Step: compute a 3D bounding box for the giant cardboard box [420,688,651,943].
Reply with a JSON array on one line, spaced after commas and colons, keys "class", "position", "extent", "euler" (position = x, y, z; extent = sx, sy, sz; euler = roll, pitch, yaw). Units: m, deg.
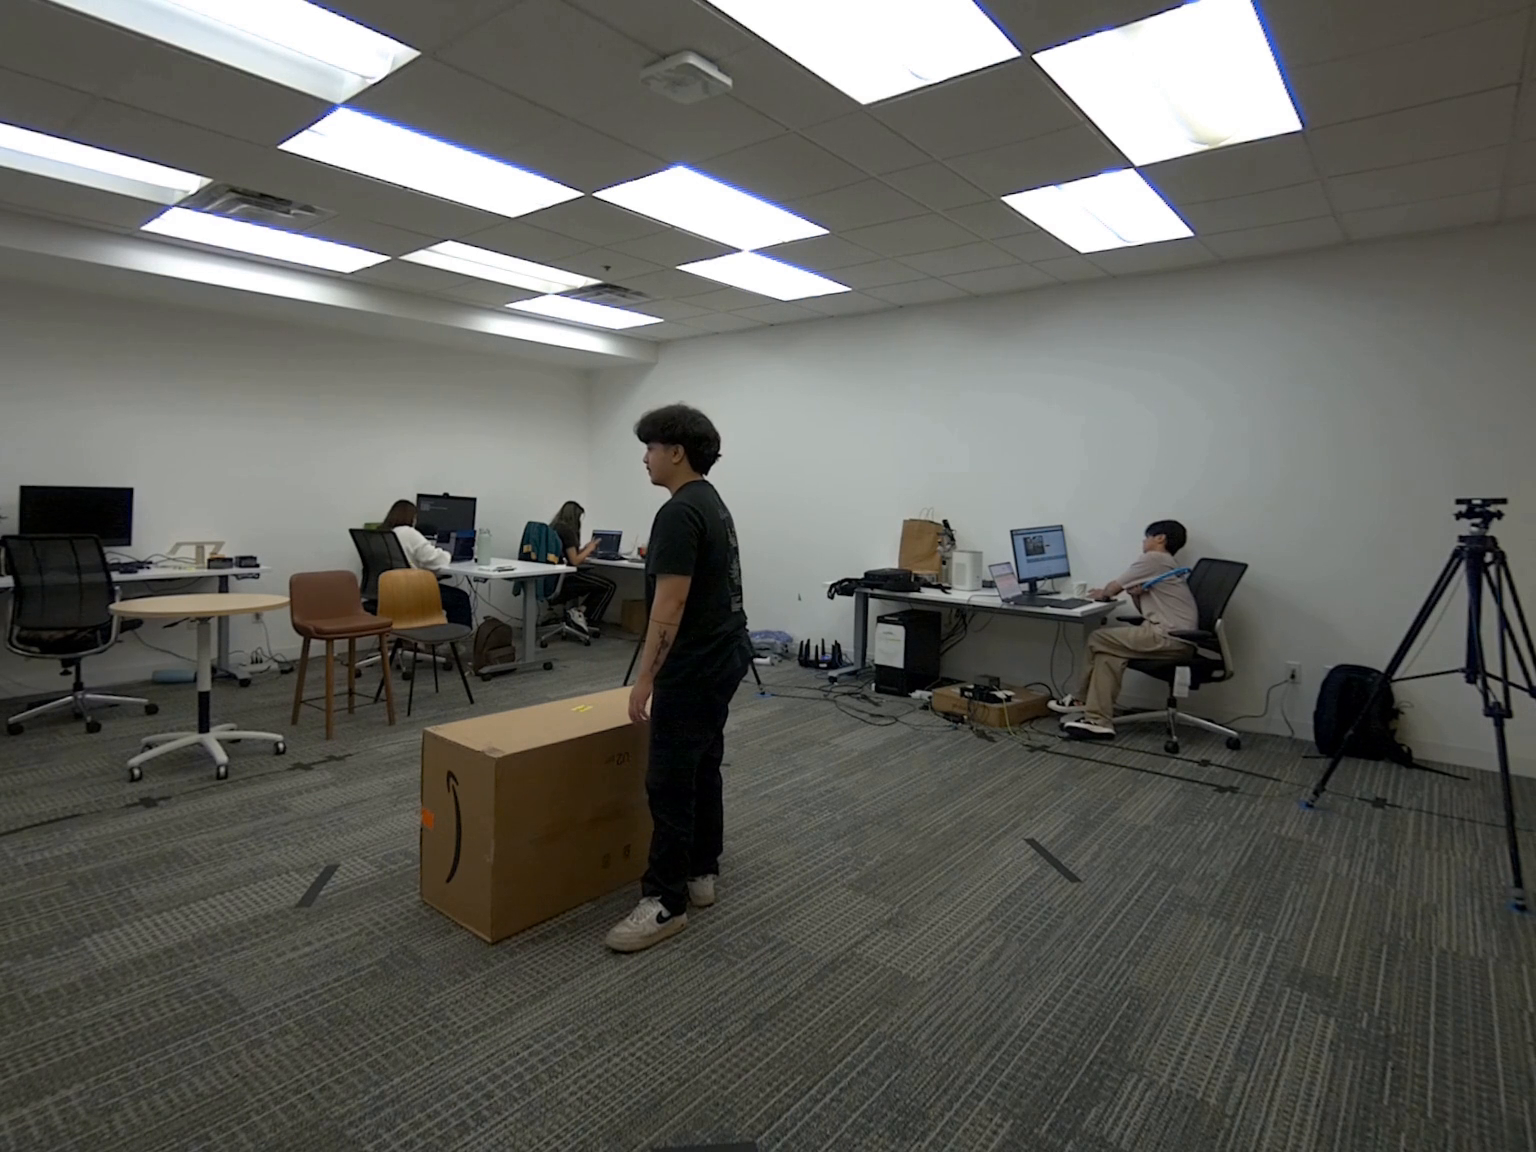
[{"class": "giant cardboard box", "position": [-0.690, 0.779, 3.072], "extent": [0.461, 0.583, 0.996], "euler": [3, 4, 39]}]
